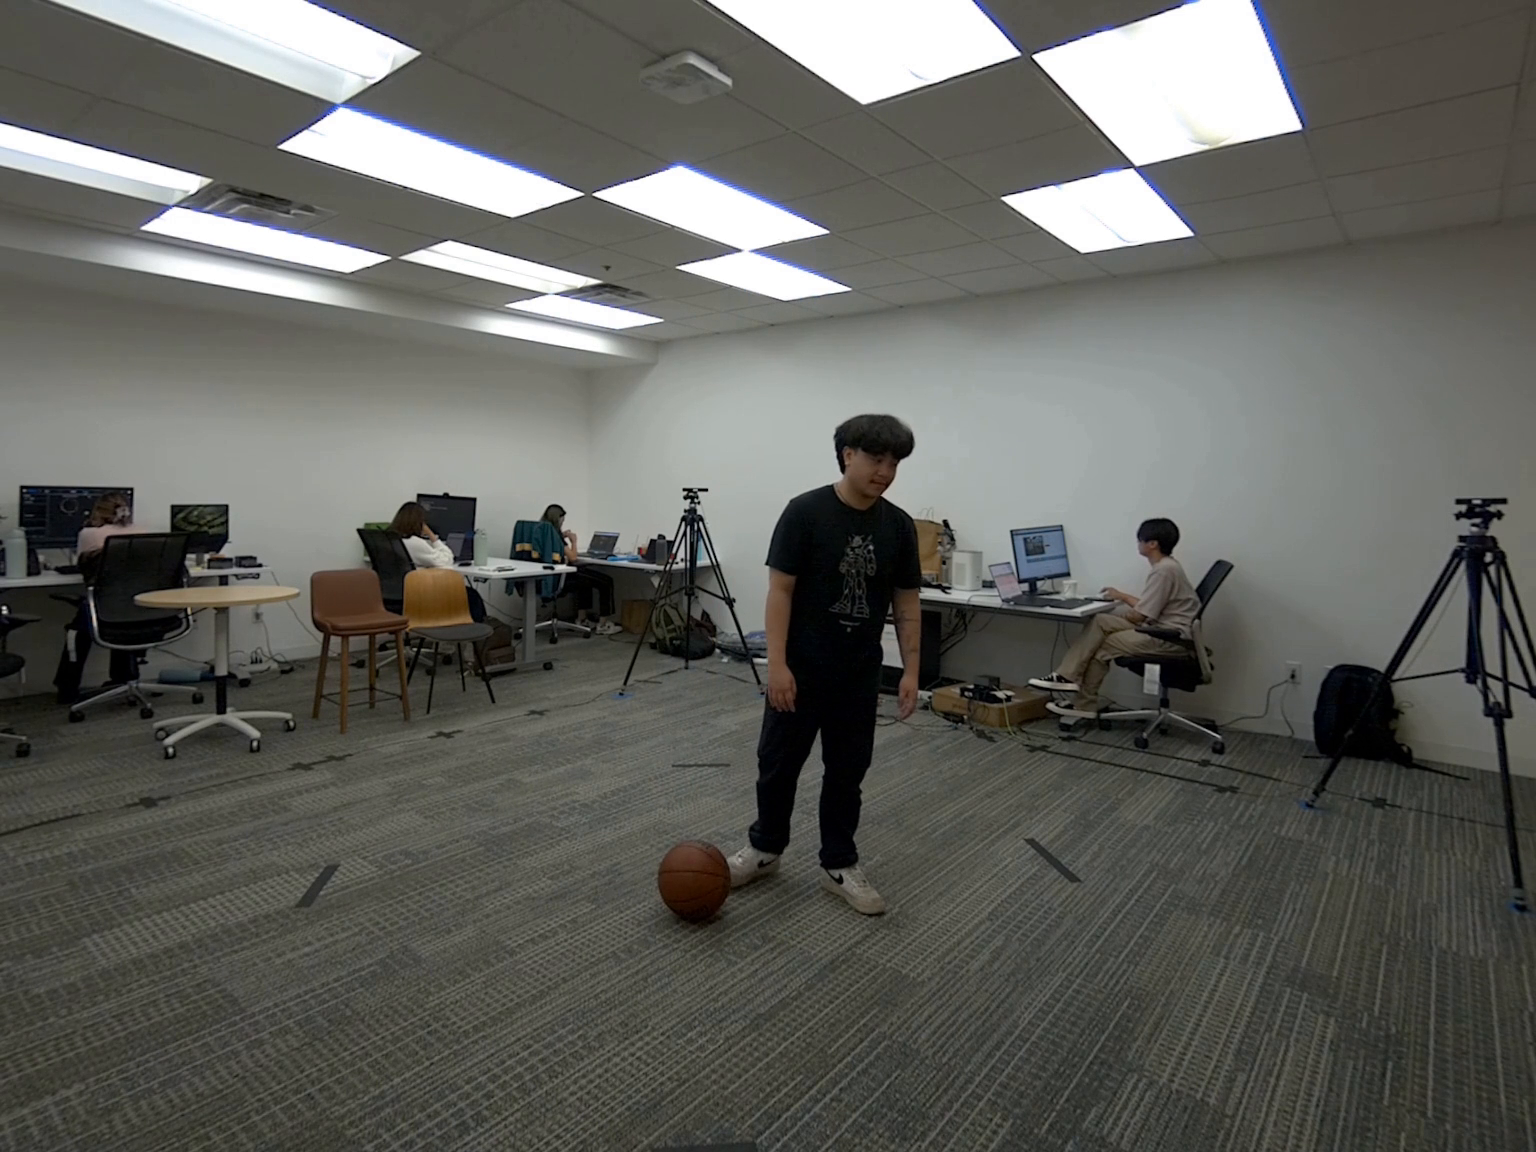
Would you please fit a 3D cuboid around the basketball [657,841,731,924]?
[{"bbox_3d":[-0.250,0.981,2.769,0.235,0.235,0.237,1,4,-2],"label":"basketball"}]
